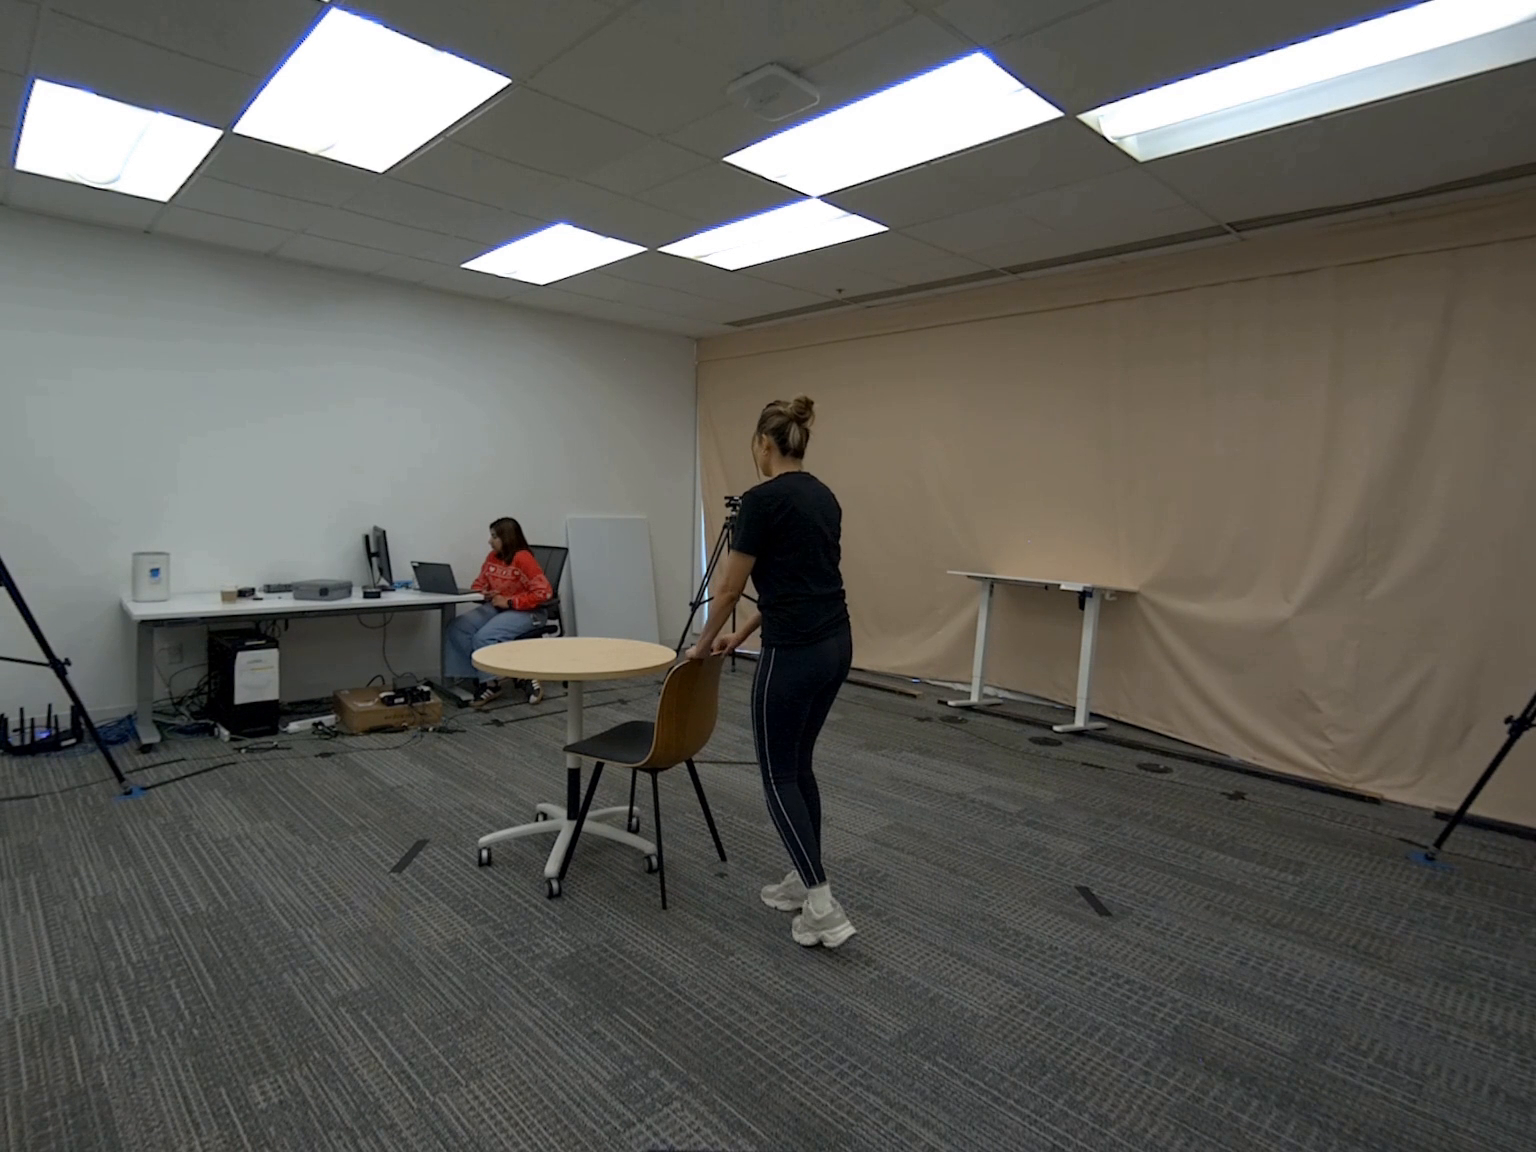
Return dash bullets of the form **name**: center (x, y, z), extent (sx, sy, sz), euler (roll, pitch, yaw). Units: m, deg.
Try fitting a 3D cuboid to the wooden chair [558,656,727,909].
- **wooden chair**: center (-0.452, 0.669, 3.097), extent (0.534, 0.874, 0.470), euler (8, 6, 26)
